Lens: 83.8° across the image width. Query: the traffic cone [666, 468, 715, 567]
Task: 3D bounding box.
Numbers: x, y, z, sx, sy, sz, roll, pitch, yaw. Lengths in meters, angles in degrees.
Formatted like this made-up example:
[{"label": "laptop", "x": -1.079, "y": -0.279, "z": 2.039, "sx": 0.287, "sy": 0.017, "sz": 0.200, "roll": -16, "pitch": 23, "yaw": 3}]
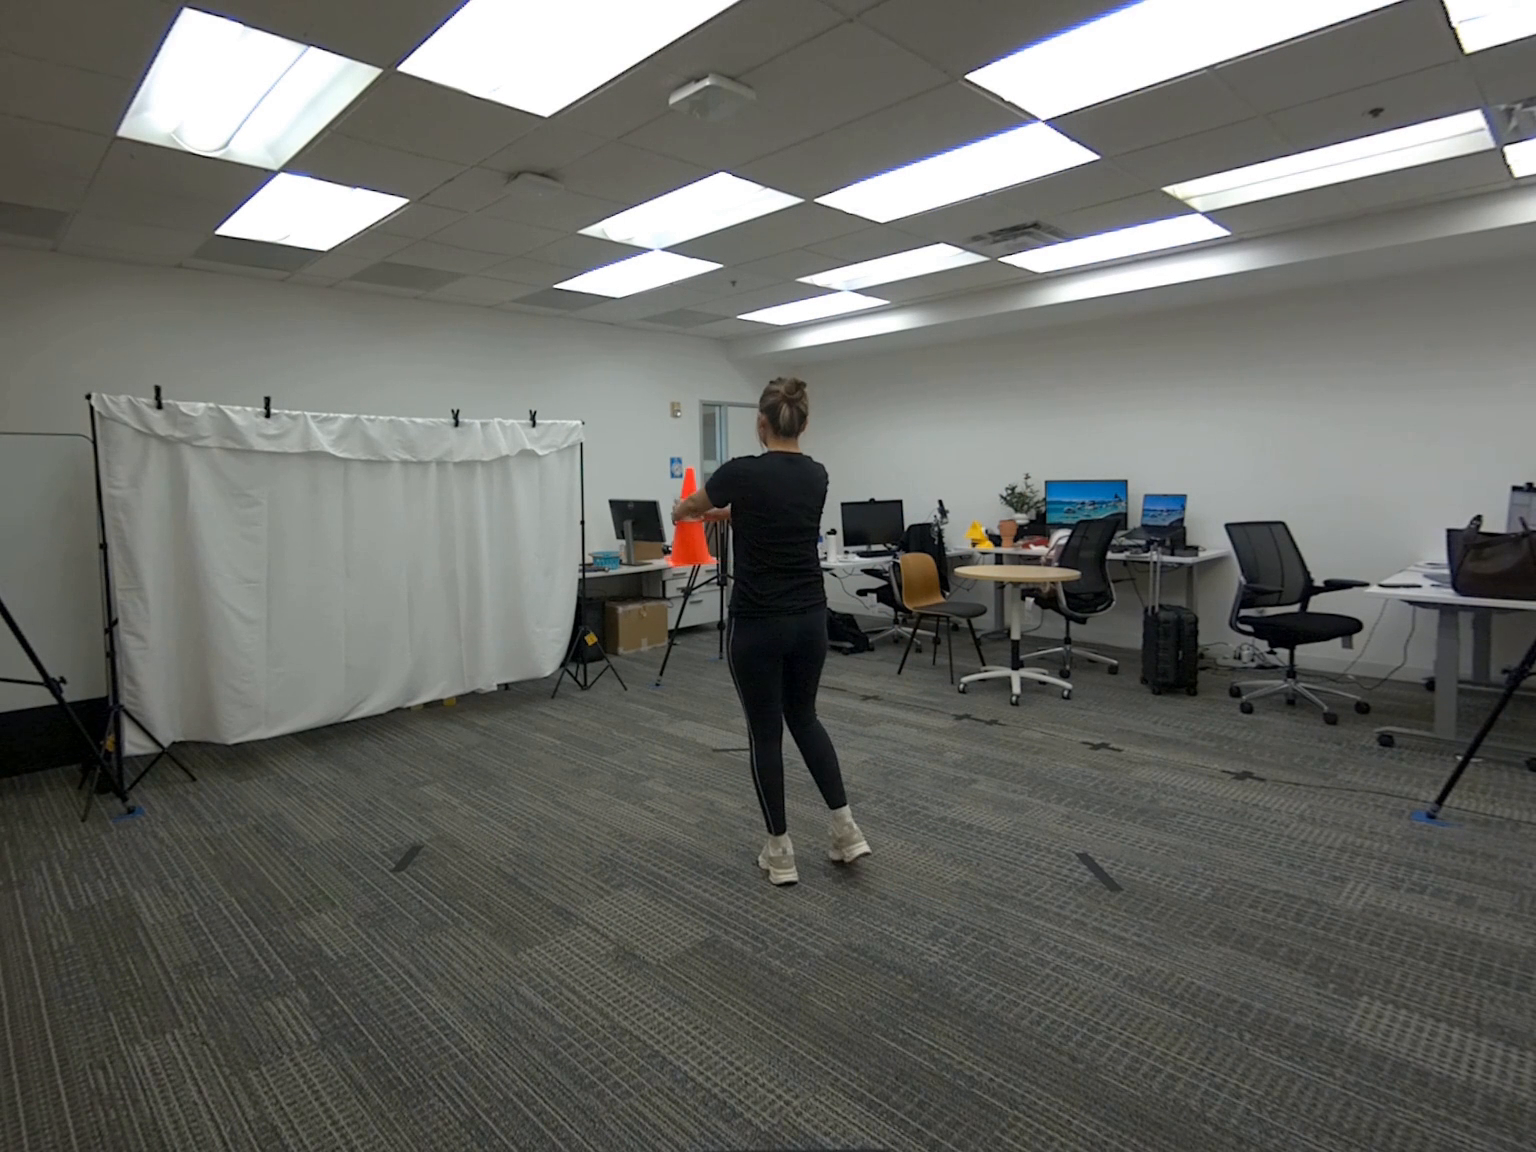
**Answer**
[{"label": "traffic cone", "x": -0.312, "y": -0.251, "z": 3.477, "sx": 0.199, "sy": 0.380, "sz": 0.211, "roll": -3, "pitch": 12, "yaw": -24}]
